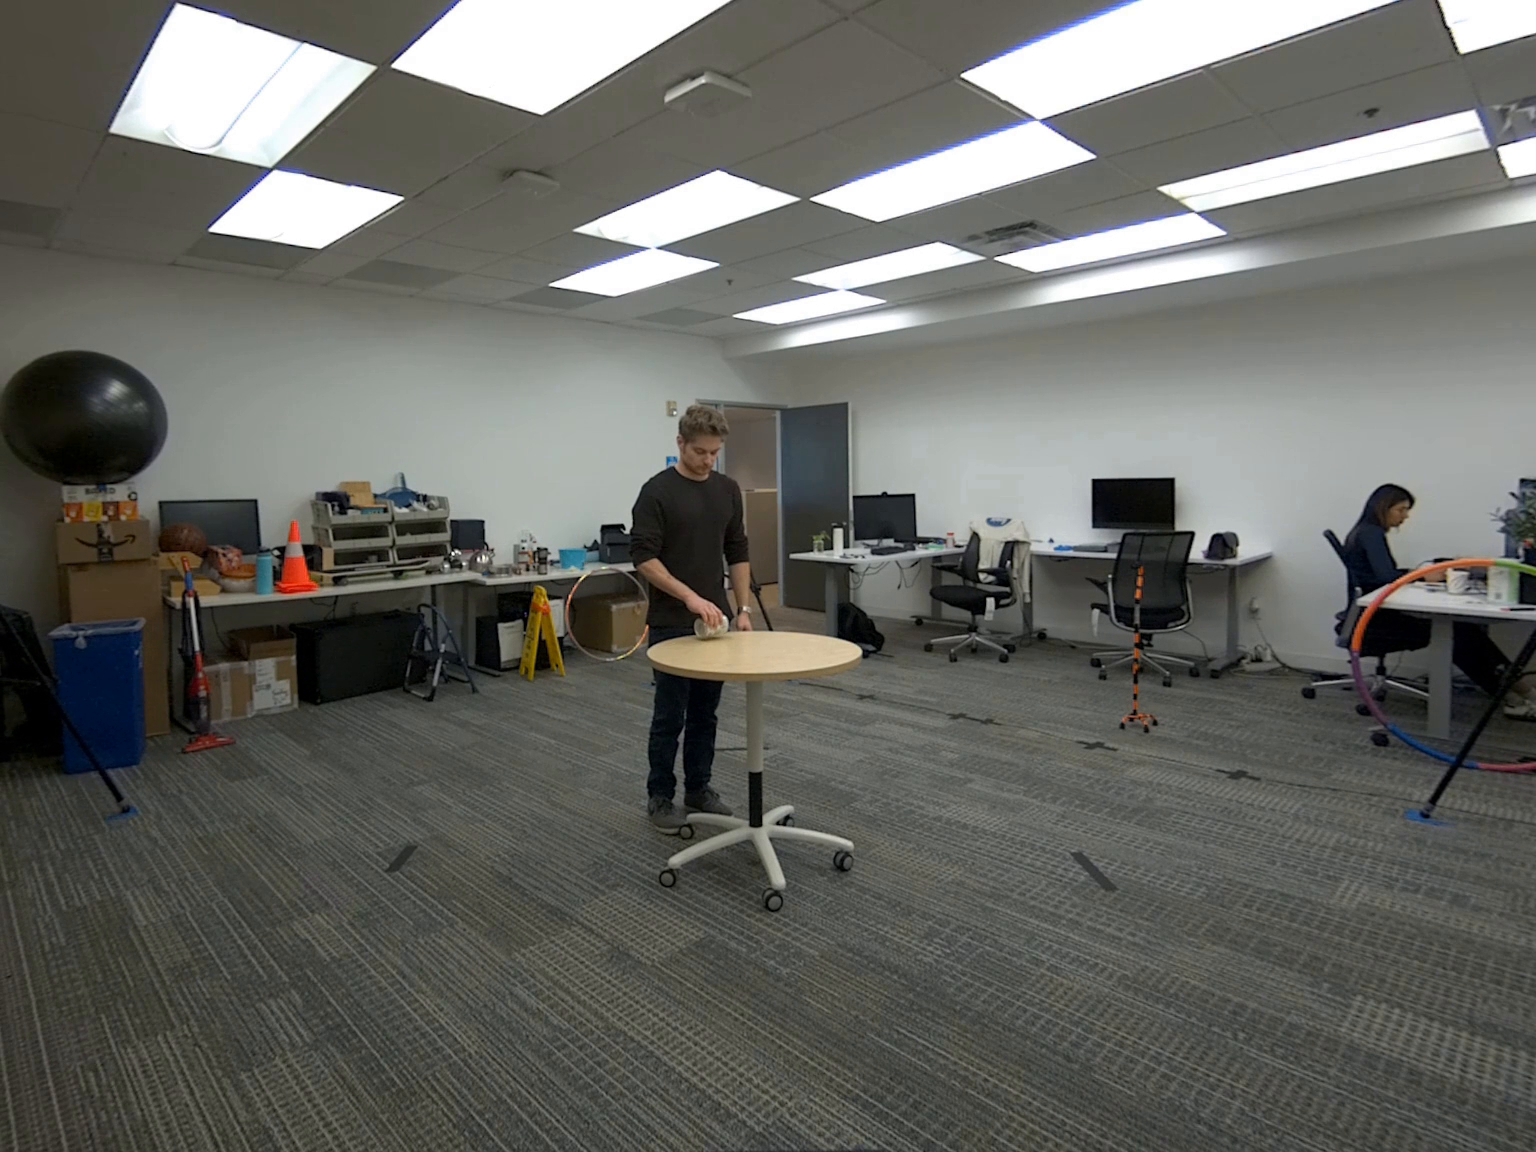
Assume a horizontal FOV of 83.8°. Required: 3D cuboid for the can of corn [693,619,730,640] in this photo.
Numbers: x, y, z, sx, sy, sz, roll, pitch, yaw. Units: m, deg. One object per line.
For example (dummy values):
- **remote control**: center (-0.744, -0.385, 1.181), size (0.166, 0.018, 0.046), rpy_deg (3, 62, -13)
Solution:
- **can of corn**: center (-0.221, 0.196, 3.275), size (0.108, 0.074, 0.076), rpy_deg (-8, 8, -37)
